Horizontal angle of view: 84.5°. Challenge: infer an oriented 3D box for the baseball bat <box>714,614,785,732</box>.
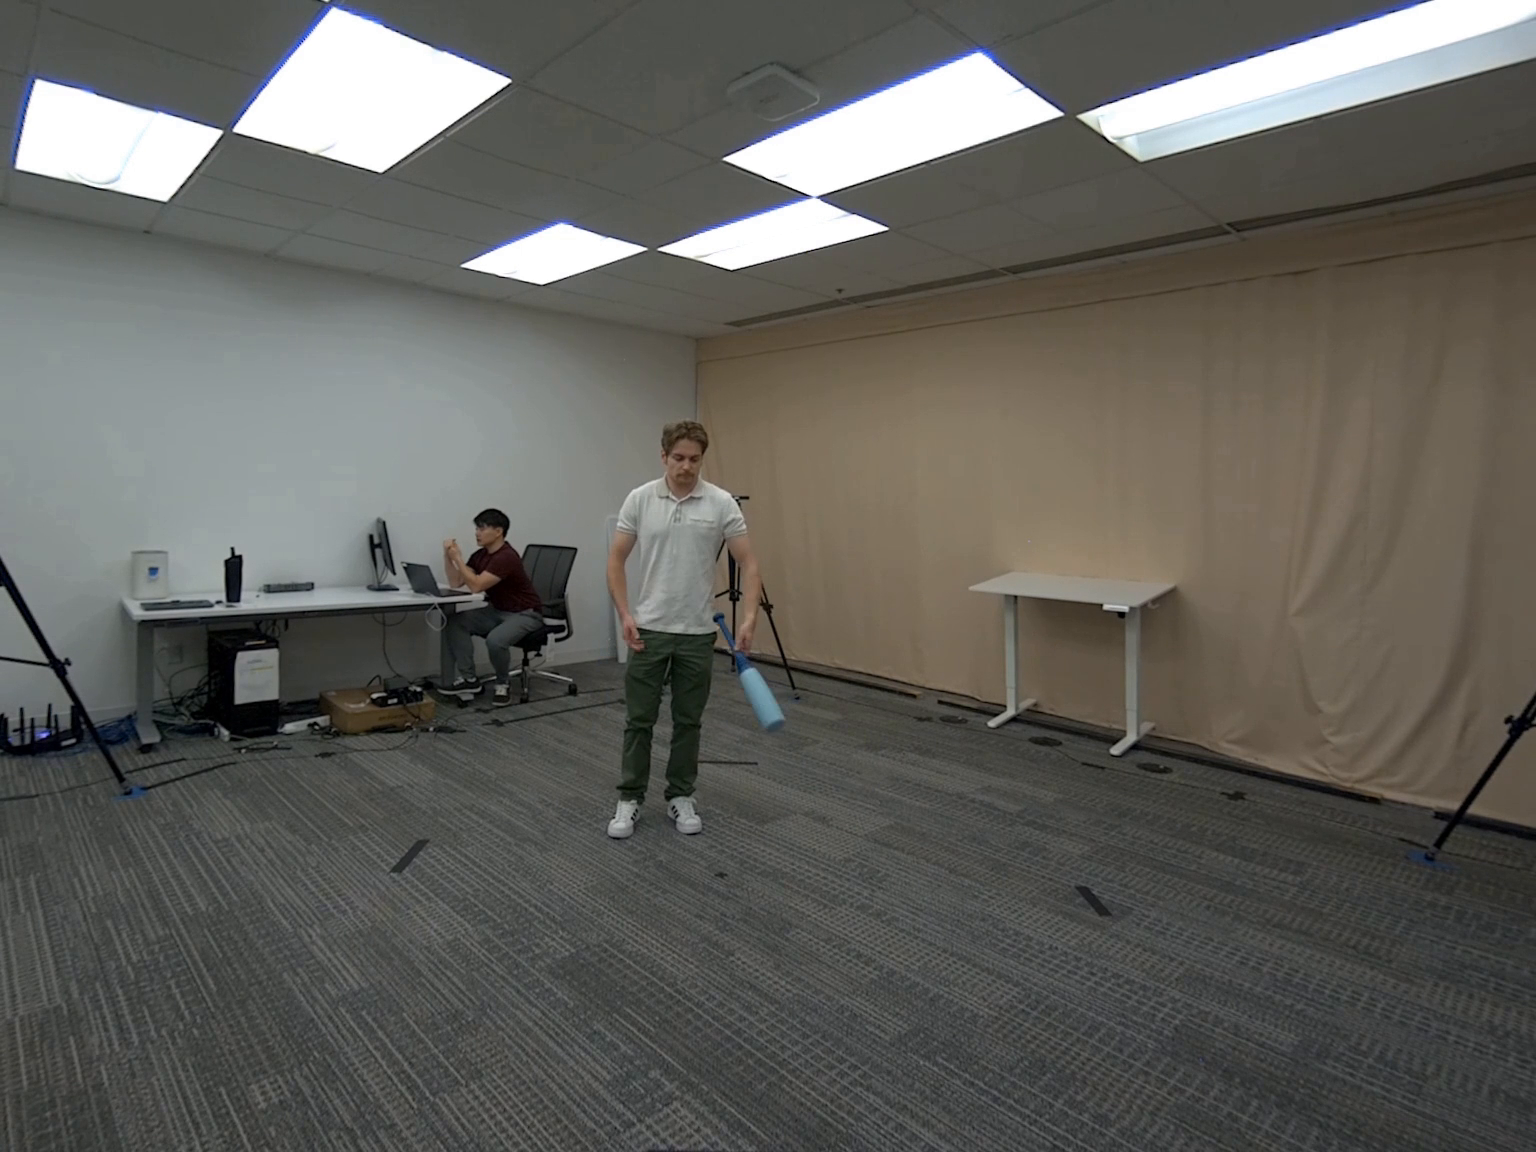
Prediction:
[{"bbox_3d":[-0.111,0.357,3.256,0.087,0.088,0.559,-1,45,-35],"label":"baseball bat"}]
